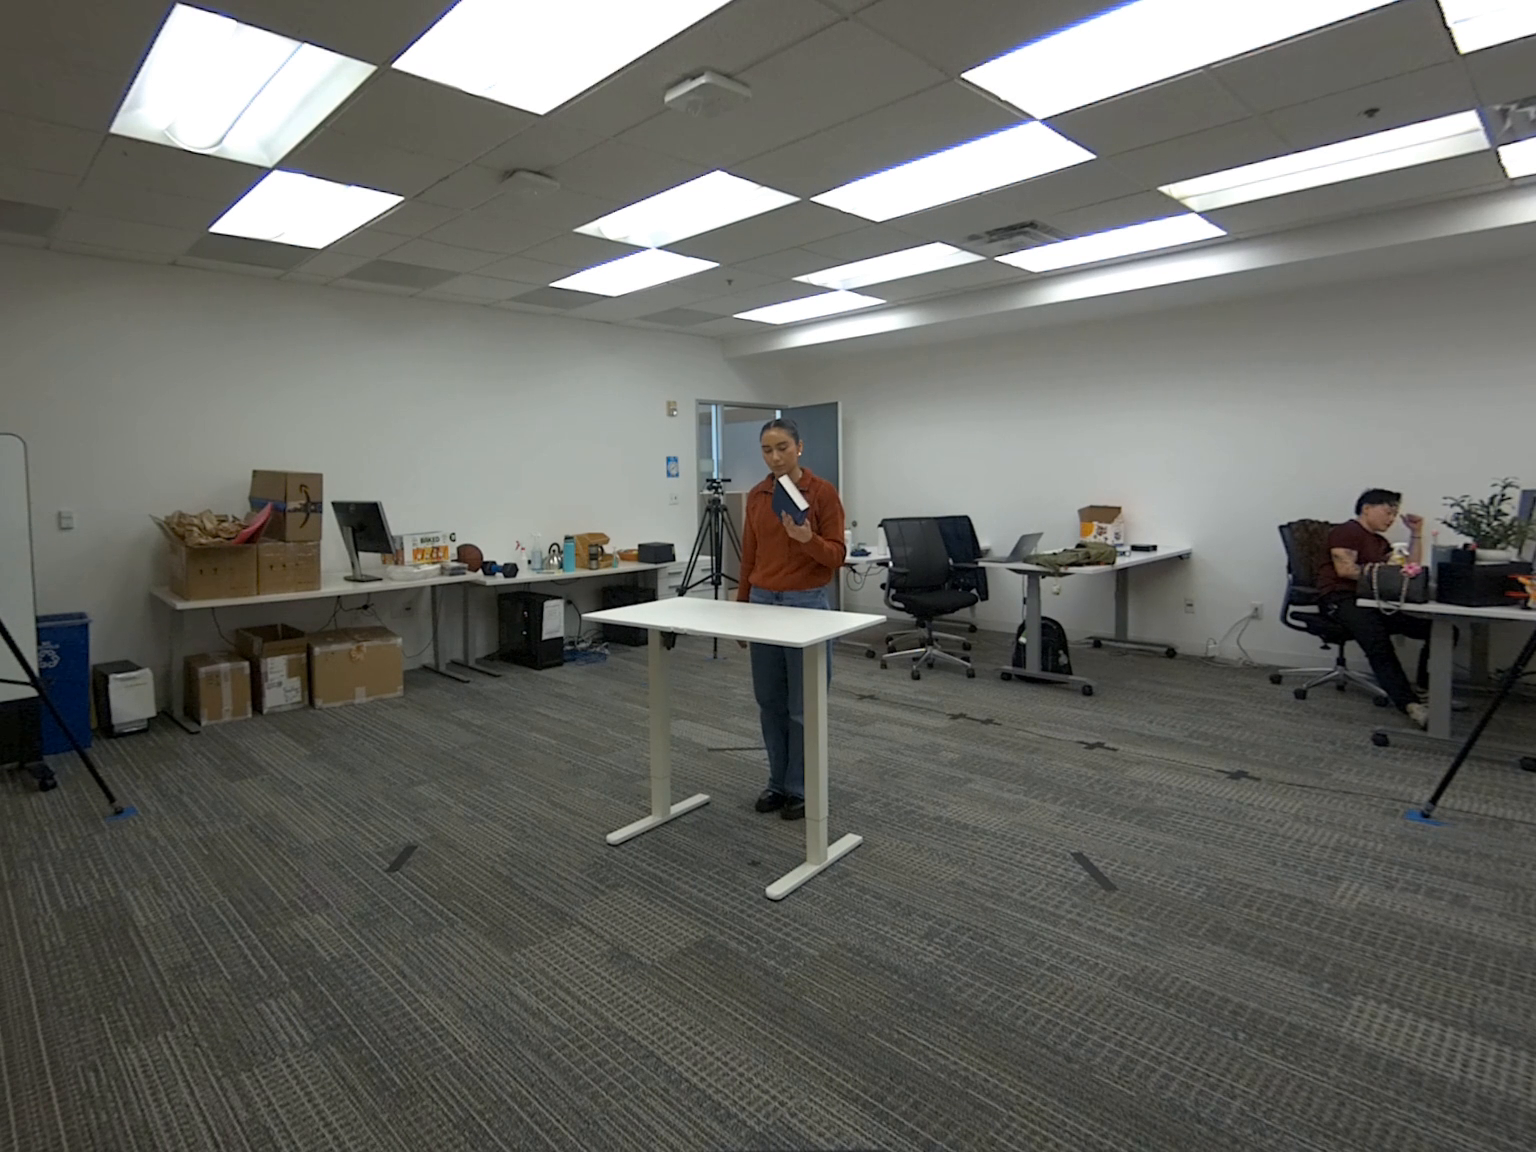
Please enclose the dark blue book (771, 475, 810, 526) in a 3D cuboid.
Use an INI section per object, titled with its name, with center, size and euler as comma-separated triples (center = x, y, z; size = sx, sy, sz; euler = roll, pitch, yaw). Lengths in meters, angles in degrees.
[dark blue book]
center = 0.084, -0.267, 3.287
size = 0.045, 0.167, 0.240
euler = -32, -17, -13
